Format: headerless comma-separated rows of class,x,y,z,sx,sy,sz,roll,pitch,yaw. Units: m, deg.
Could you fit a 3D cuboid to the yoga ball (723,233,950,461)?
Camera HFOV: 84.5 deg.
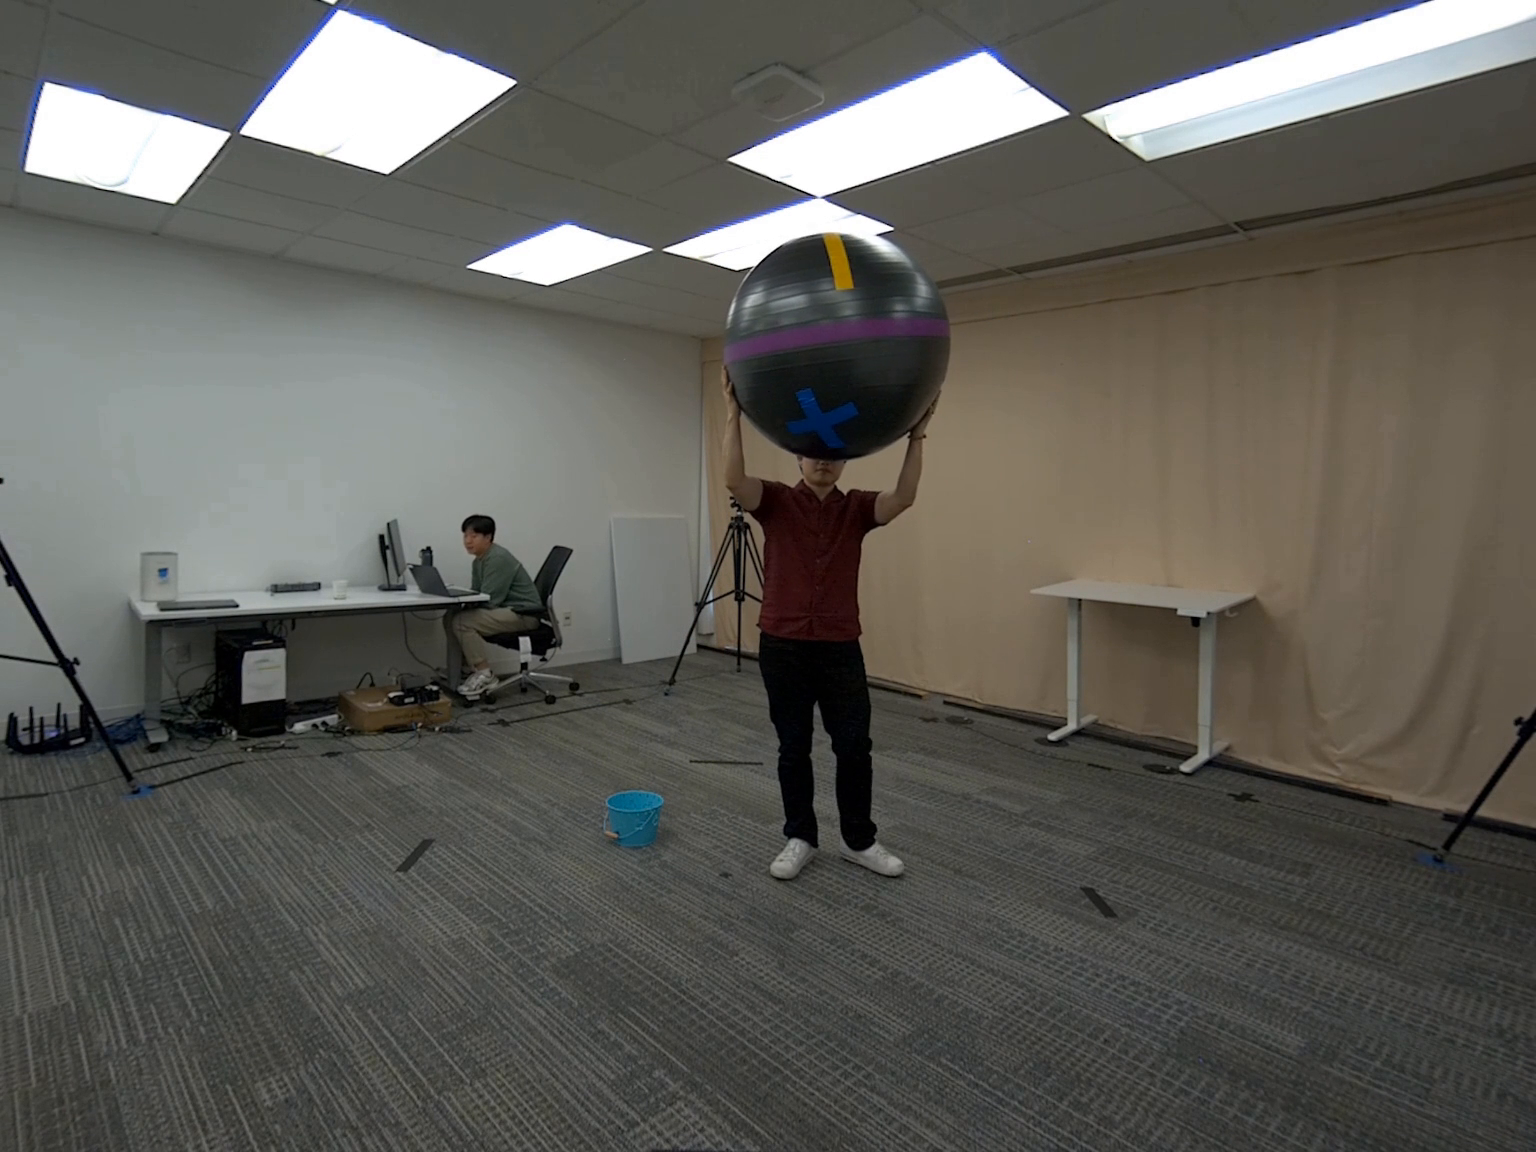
yoga ball,0.233,-0.767,2.837,0.757,0.756,0.761,1,4,-1
